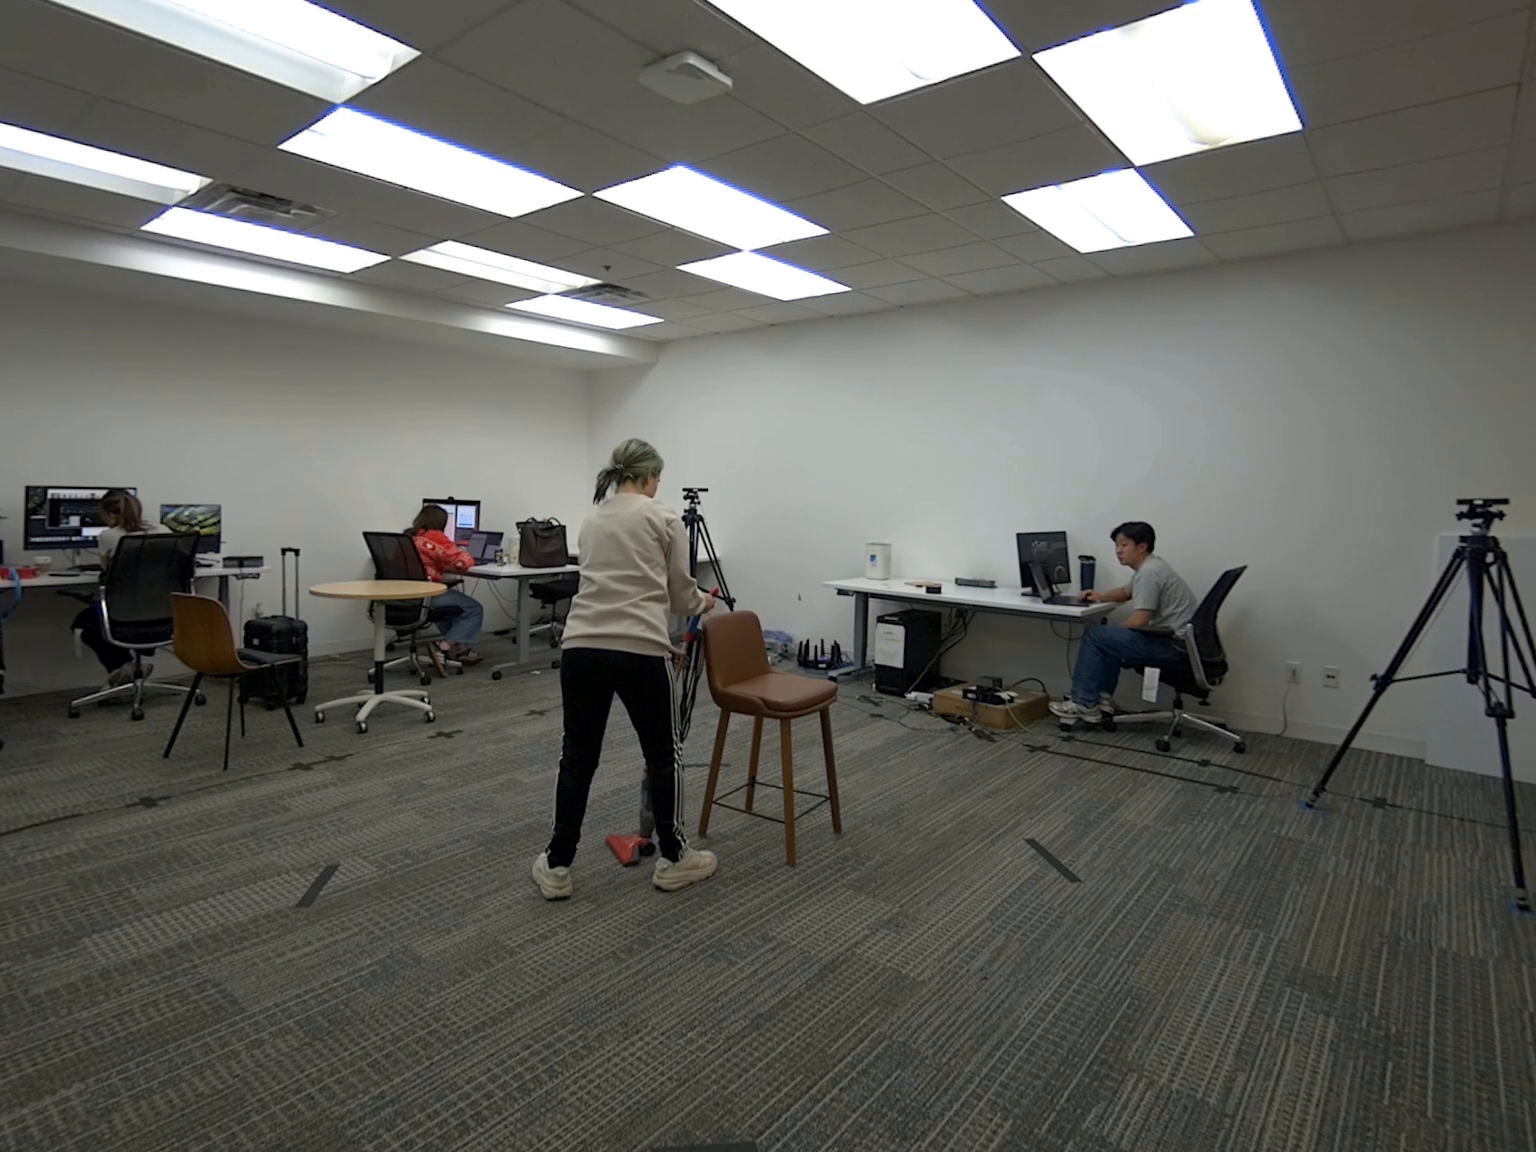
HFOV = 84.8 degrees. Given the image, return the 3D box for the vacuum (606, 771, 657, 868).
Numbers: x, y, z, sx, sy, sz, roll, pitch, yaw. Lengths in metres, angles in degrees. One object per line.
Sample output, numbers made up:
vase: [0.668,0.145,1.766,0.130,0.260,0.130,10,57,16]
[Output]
vacuum: [-0.376,0.554,3.298,0.139,1.053,0.260,21,-7,-31]
